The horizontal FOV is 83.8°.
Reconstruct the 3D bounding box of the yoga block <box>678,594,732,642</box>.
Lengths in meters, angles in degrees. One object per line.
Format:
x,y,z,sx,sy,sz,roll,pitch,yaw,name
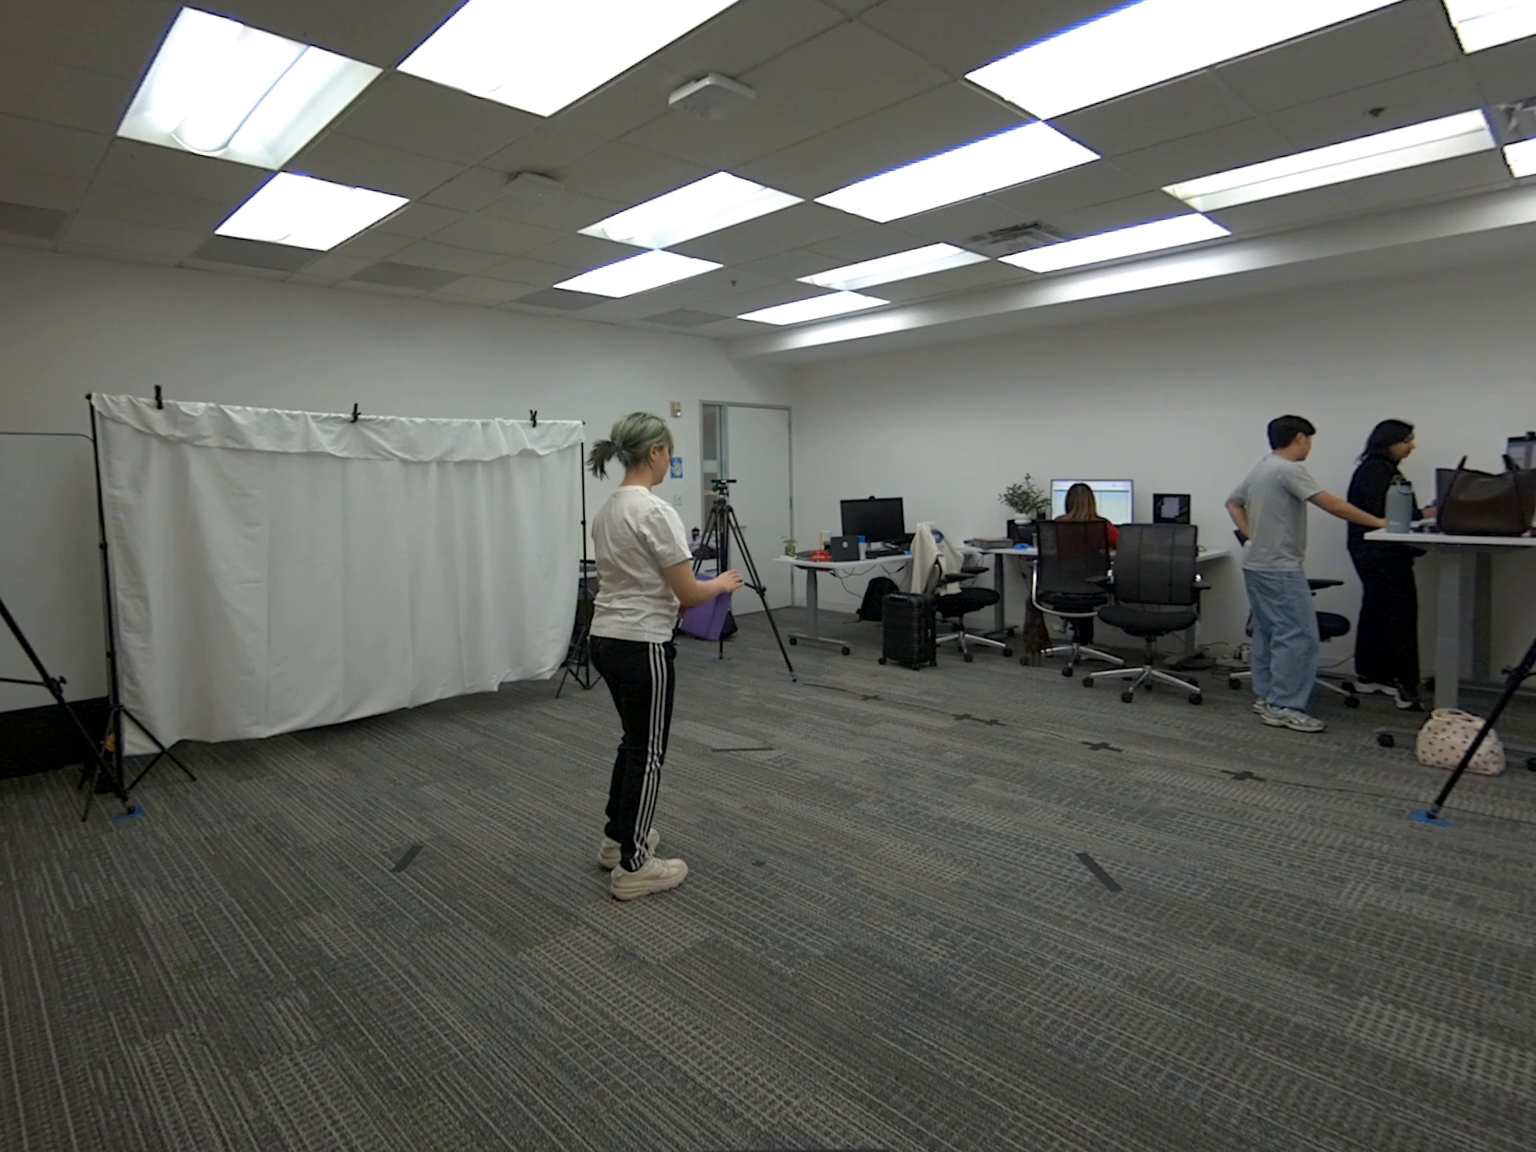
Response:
-0.226,0.105,3.172,0.154,0.230,0.074,11,-5,37,yoga block
